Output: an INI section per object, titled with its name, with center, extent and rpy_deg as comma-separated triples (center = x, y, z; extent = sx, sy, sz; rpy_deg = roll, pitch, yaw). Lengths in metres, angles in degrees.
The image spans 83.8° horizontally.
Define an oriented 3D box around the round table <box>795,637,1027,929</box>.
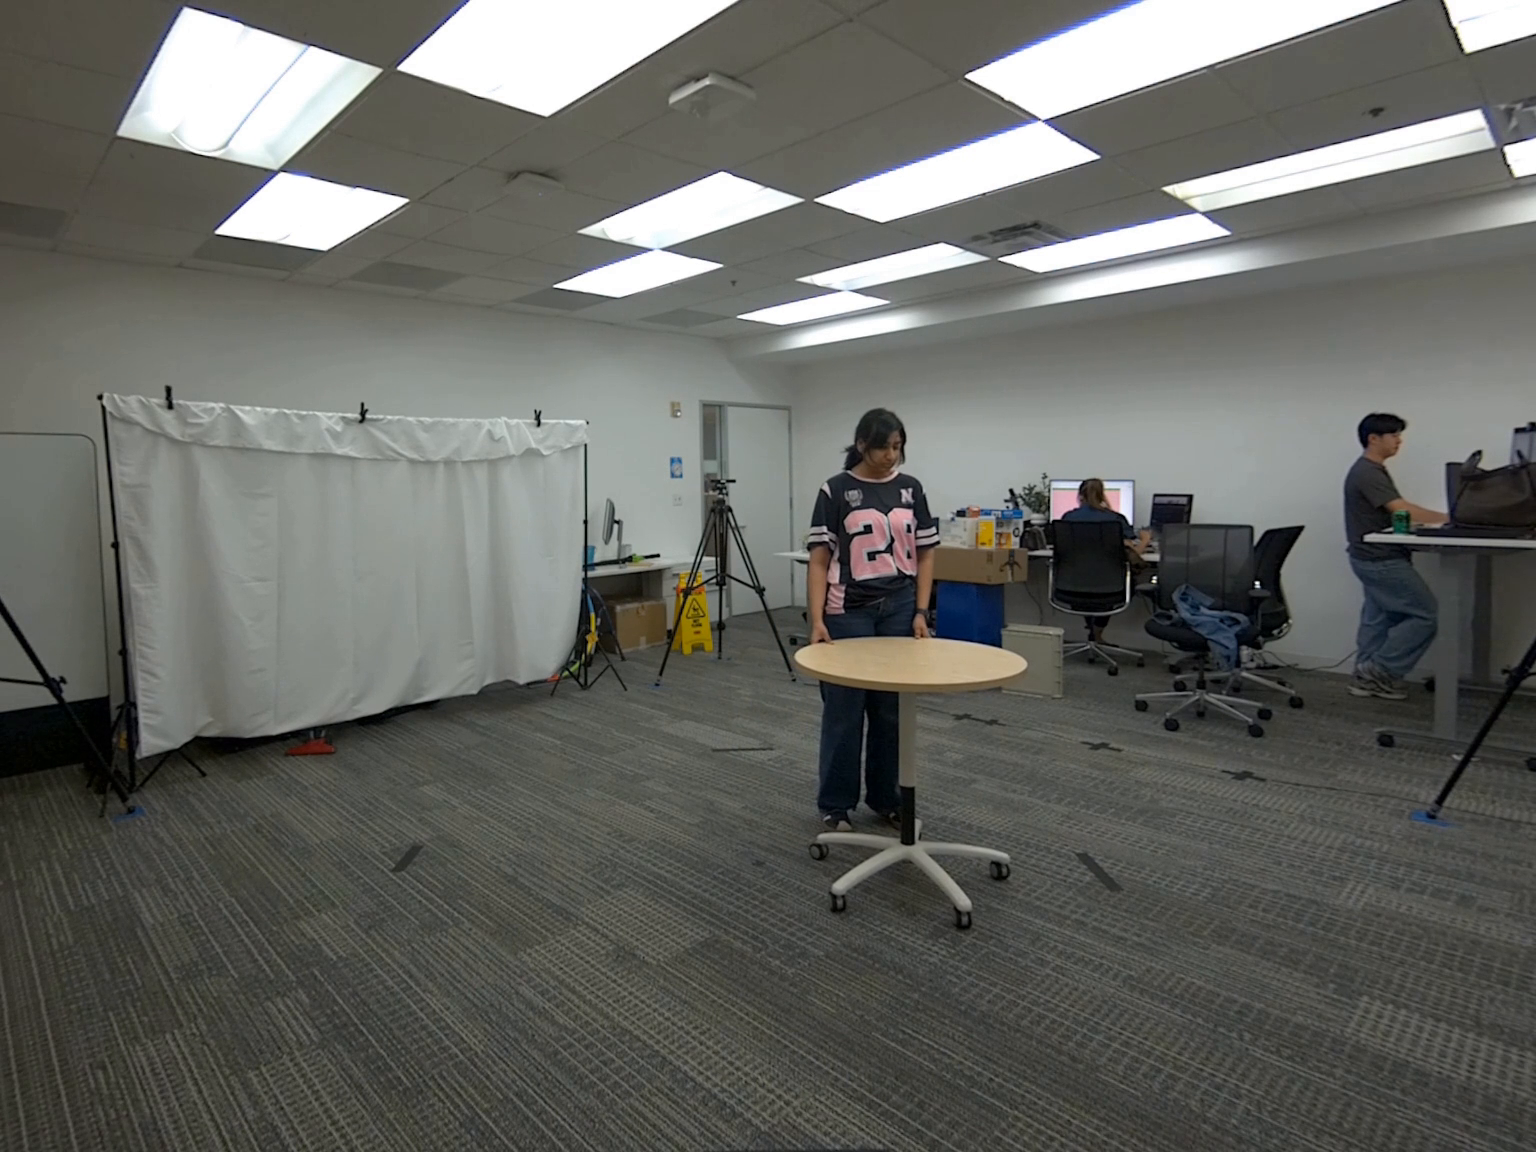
[round table]
center = 0.474, 0.674, 2.919
extent = 0.763, 0.791, 0.767
rpy_deg = -1, 4, -2
